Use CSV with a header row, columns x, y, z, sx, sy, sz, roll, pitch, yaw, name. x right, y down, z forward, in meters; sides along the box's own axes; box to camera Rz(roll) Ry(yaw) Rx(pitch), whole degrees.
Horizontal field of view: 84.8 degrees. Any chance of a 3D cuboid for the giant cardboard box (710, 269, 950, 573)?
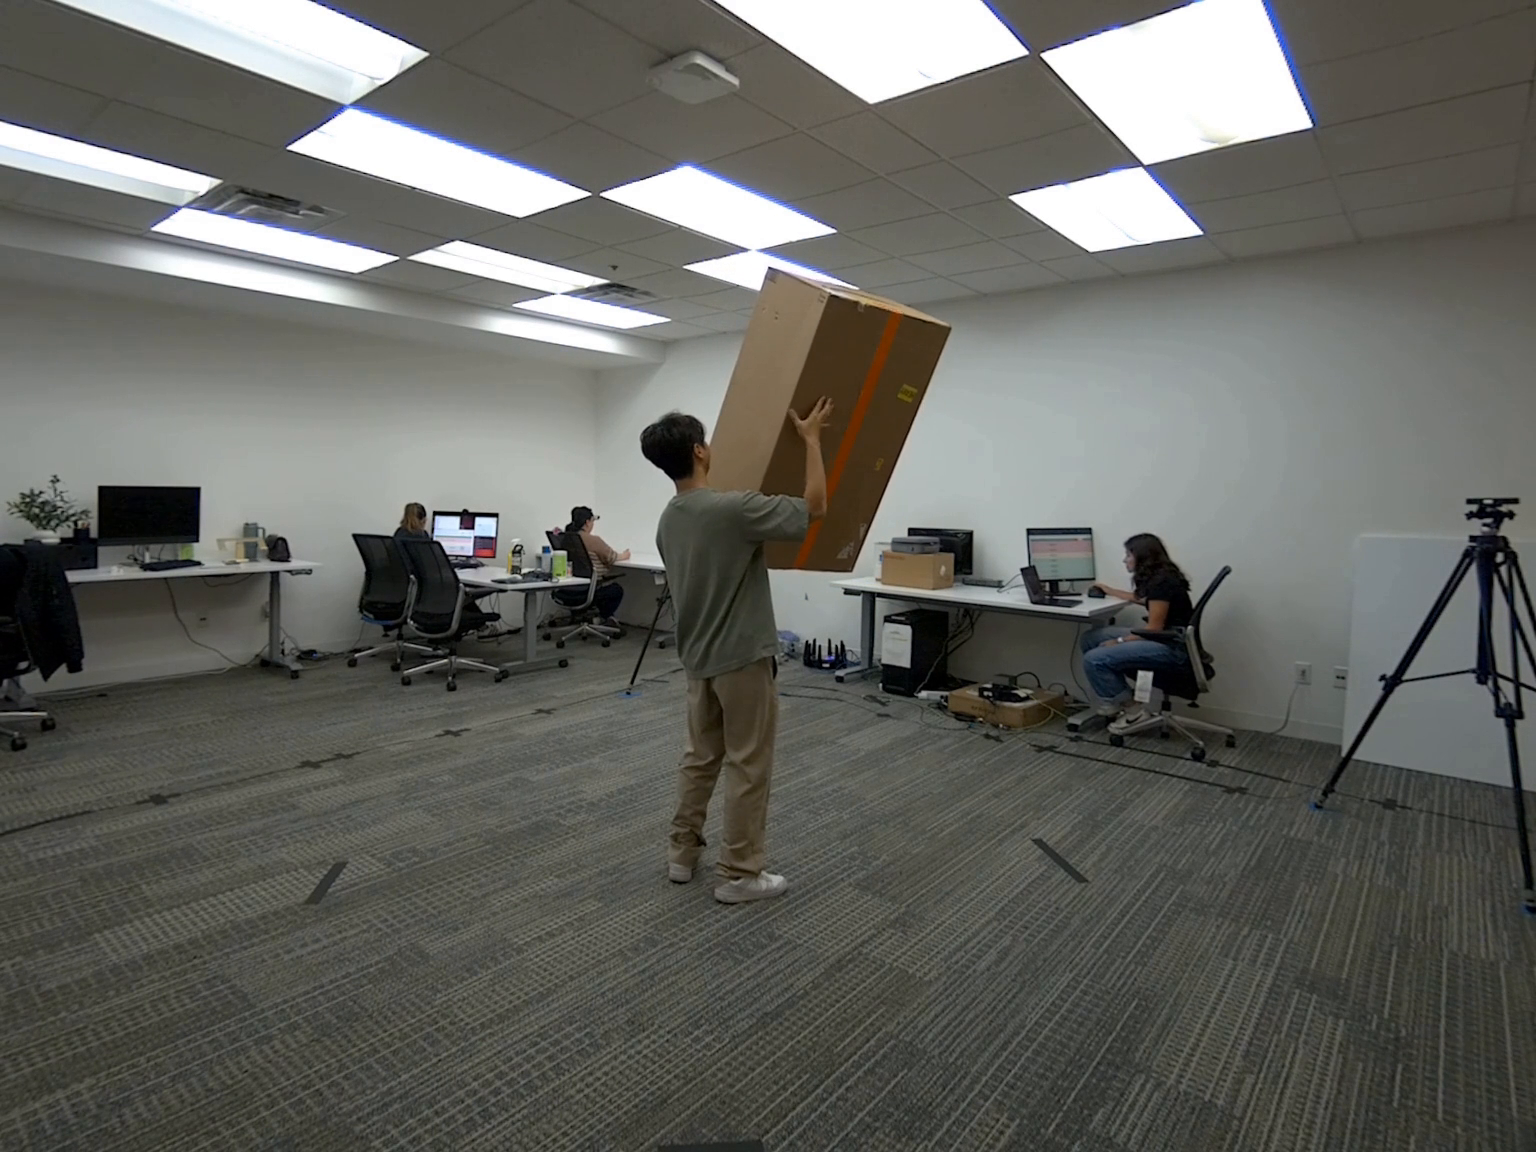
x,y,z,sx,sy,sz,roll,pitch,yaw,name
0.160,-0.569,3.241,0.560,1.014,0.444,5,26,-34,giant cardboard box
